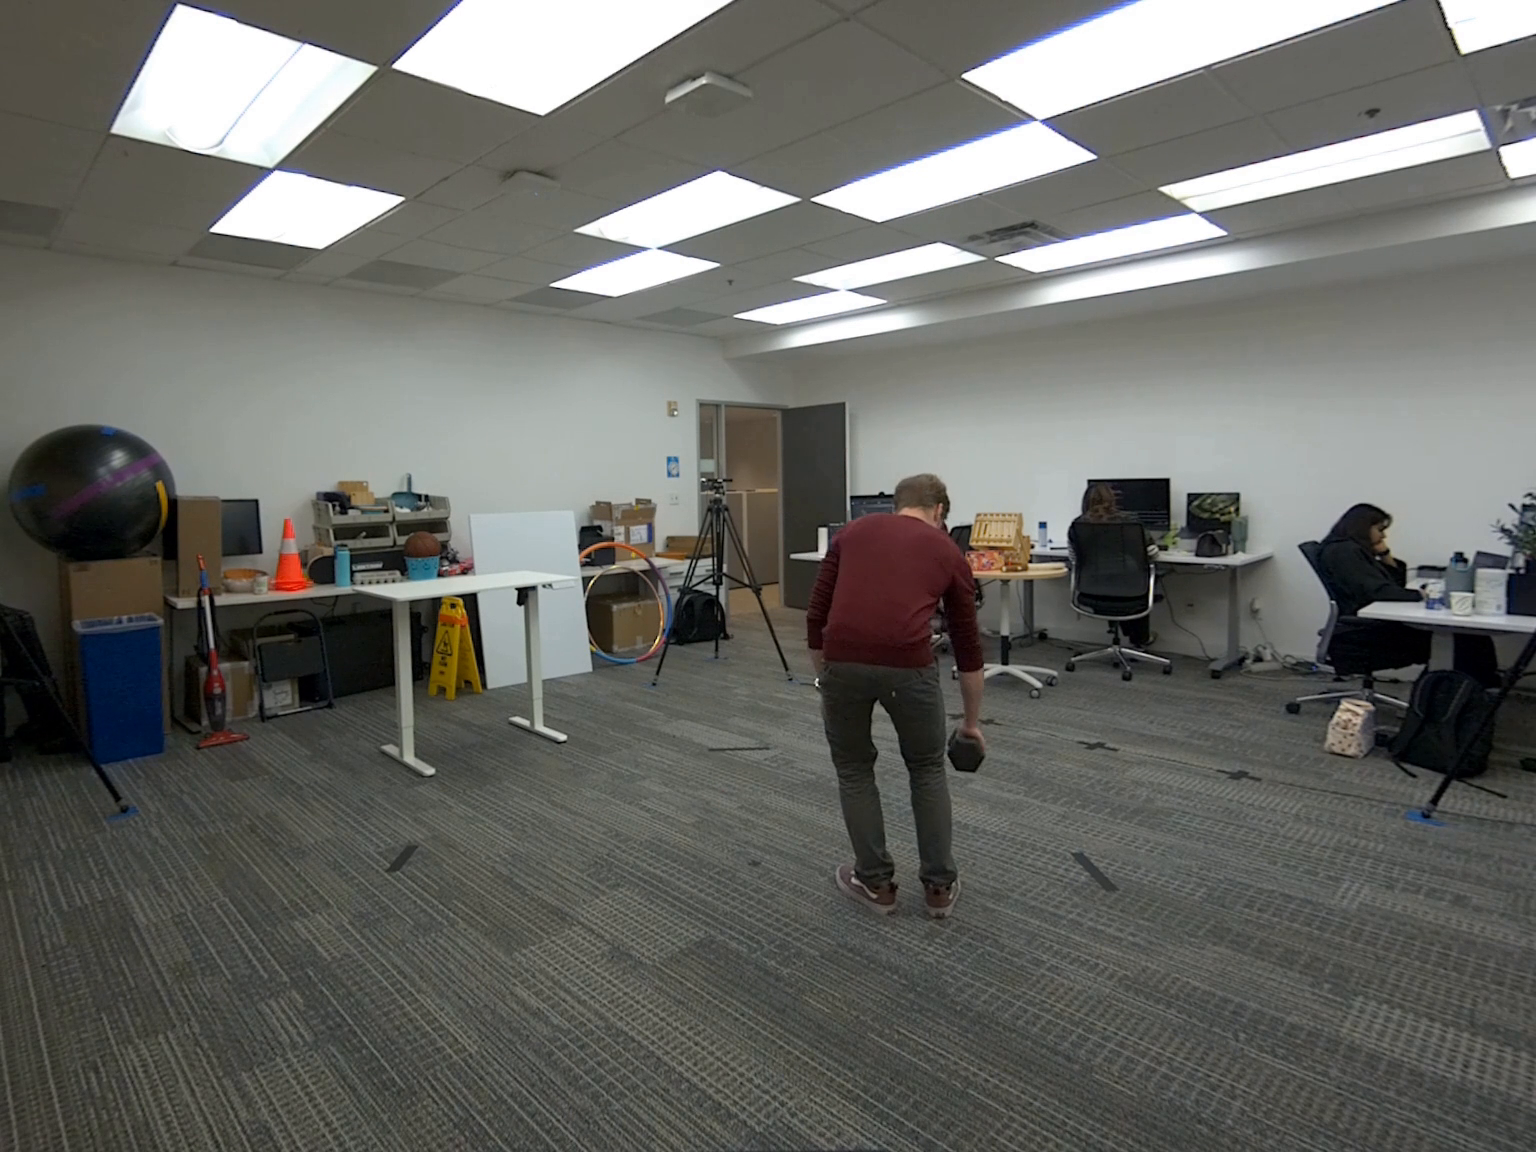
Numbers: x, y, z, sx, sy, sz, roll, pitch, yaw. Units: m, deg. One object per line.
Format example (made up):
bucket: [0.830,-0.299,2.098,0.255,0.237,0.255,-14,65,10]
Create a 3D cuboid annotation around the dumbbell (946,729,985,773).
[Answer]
dumbbell: [0.684,0.595,2.955,0.110,0.123,0.290,35,7,9]
